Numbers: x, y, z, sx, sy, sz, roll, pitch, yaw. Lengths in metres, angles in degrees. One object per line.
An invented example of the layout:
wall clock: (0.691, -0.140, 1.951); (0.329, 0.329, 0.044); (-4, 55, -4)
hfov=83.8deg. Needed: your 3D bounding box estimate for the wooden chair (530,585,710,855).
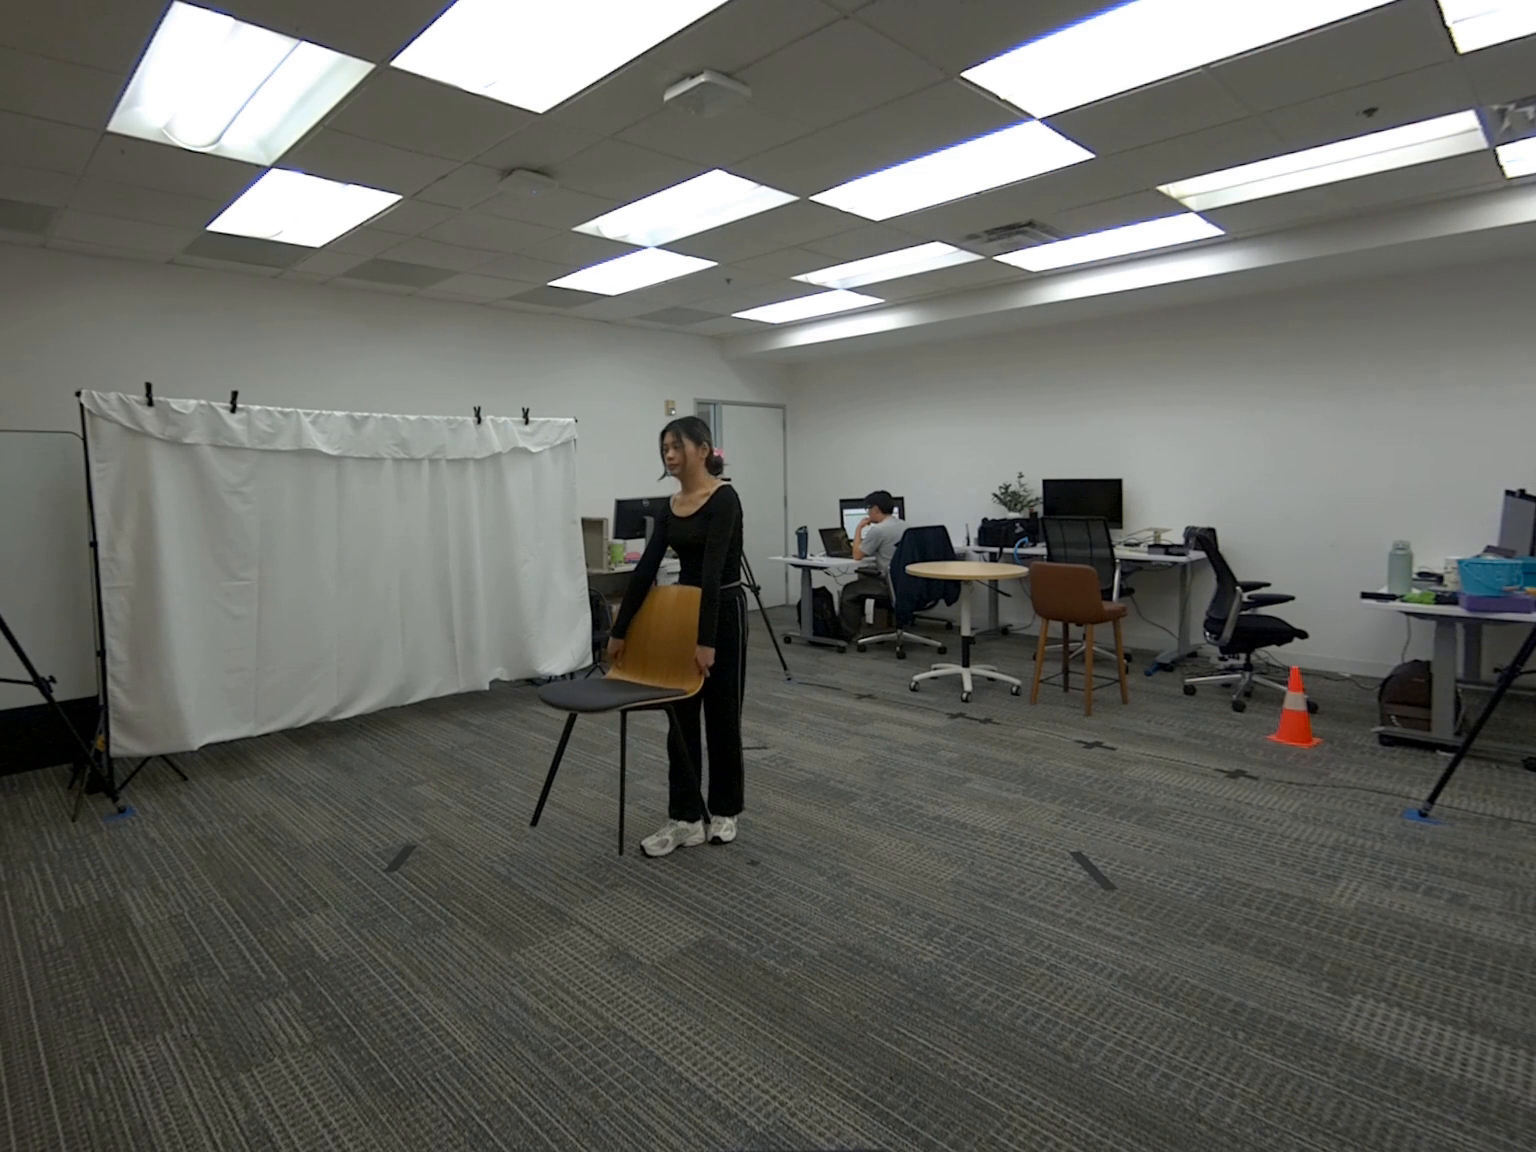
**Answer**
wooden chair: (-0.507, 0.458, 3.018); (0.492, 0.881, 0.506); (2, -5, 37)
